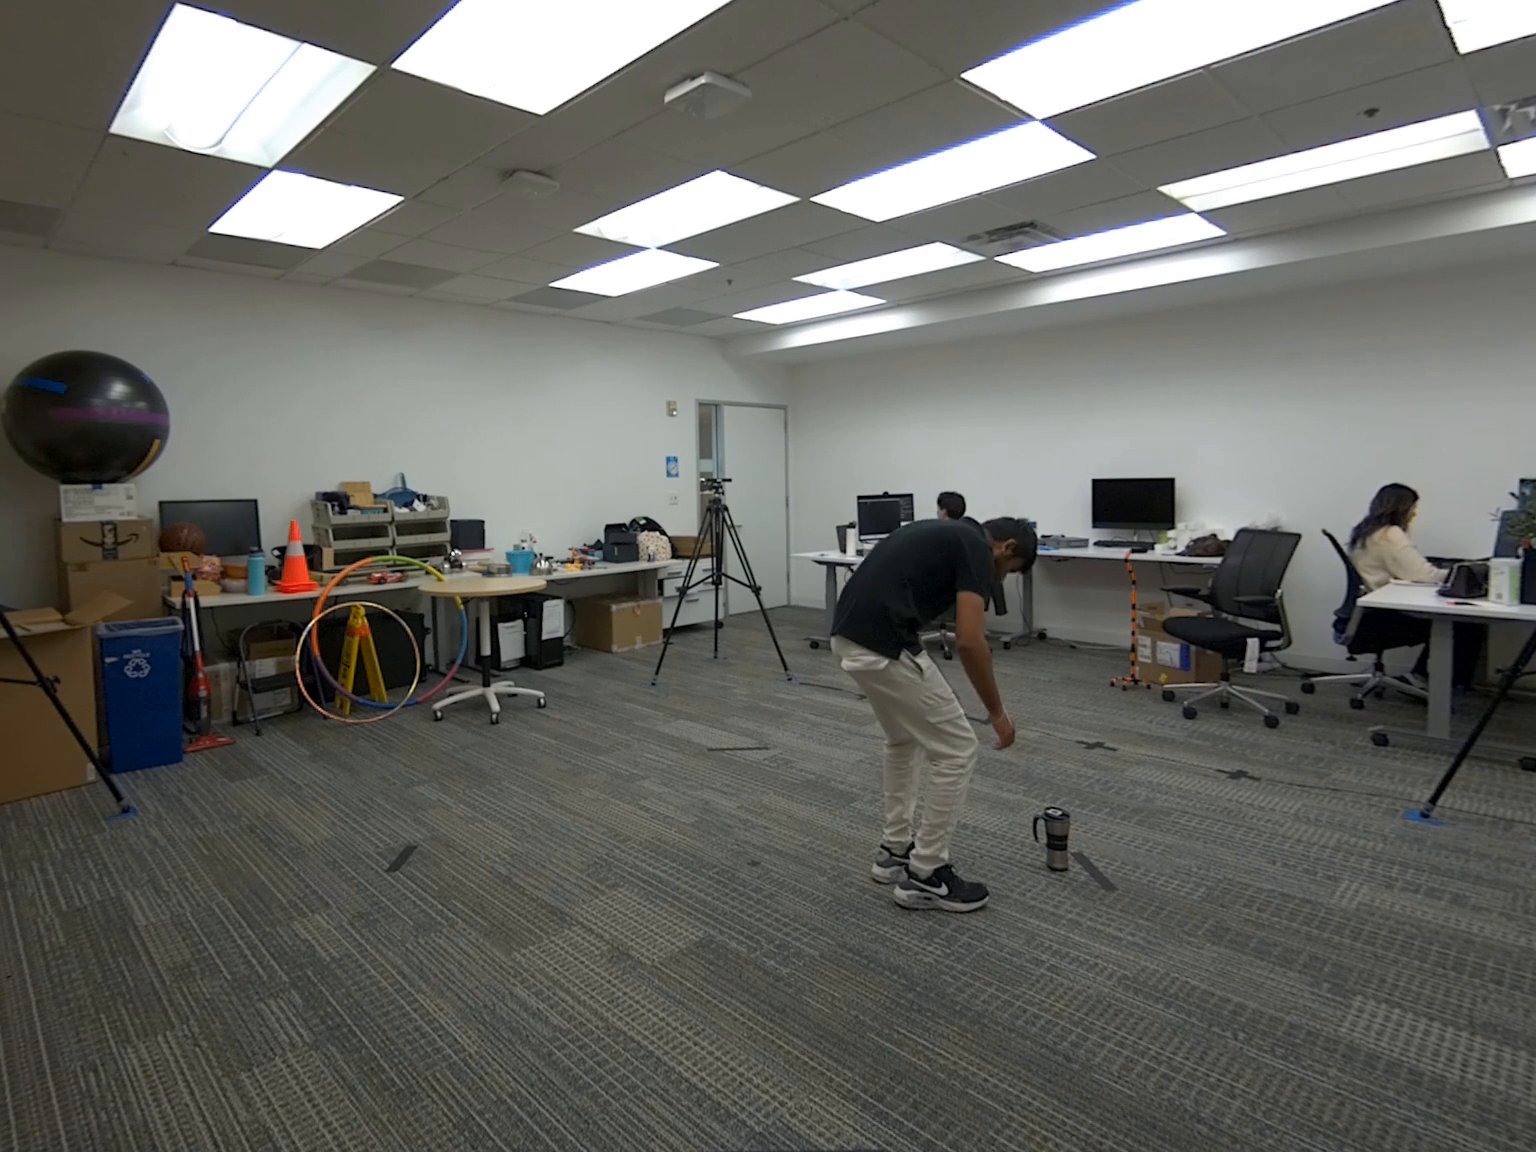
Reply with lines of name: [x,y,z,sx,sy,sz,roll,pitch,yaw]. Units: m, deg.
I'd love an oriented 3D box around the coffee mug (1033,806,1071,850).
coffee mug: [1.009,0.932,3.036,0.126,0.201,0.086,7,12,41]
